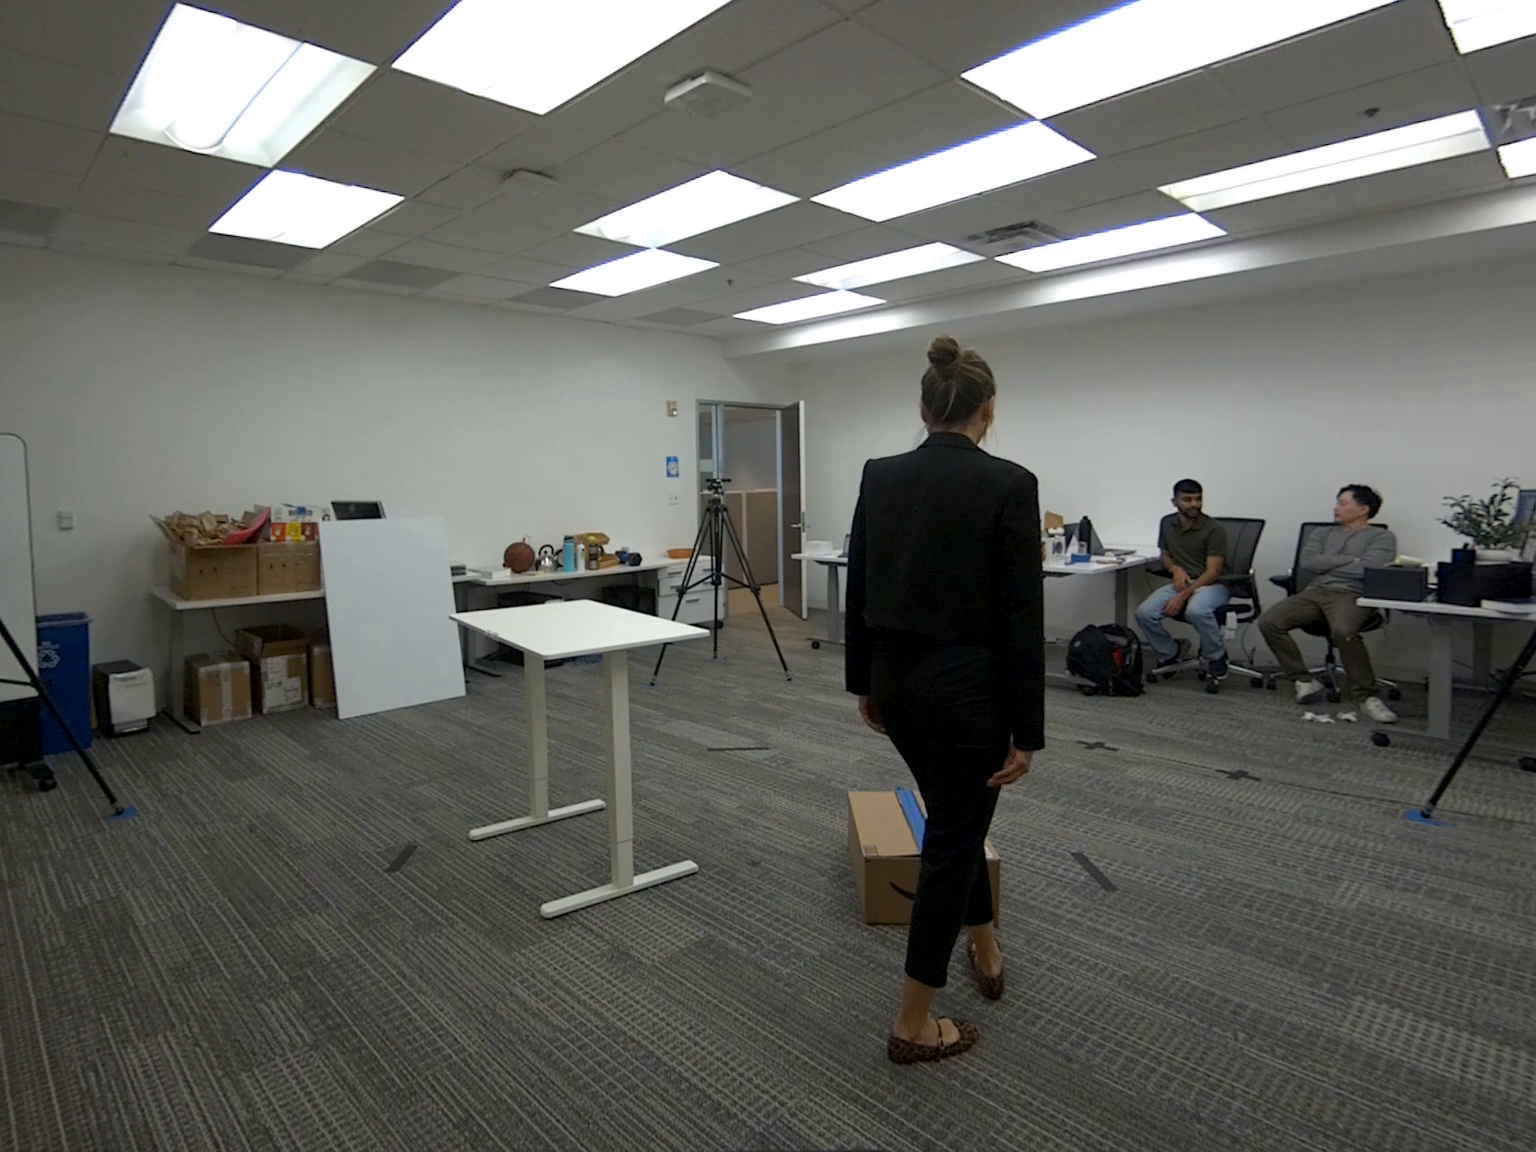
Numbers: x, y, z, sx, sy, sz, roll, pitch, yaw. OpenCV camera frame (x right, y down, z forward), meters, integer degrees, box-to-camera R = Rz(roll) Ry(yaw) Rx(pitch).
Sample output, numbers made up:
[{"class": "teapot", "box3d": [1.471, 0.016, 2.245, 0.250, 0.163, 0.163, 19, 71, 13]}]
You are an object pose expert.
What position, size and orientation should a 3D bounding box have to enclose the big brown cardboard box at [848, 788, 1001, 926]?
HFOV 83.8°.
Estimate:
[{"class": "big brown cardboard box", "box3d": [0.511, 0.944, 2.921, 0.418, 0.232, 0.591, -1, 5, 0]}]
